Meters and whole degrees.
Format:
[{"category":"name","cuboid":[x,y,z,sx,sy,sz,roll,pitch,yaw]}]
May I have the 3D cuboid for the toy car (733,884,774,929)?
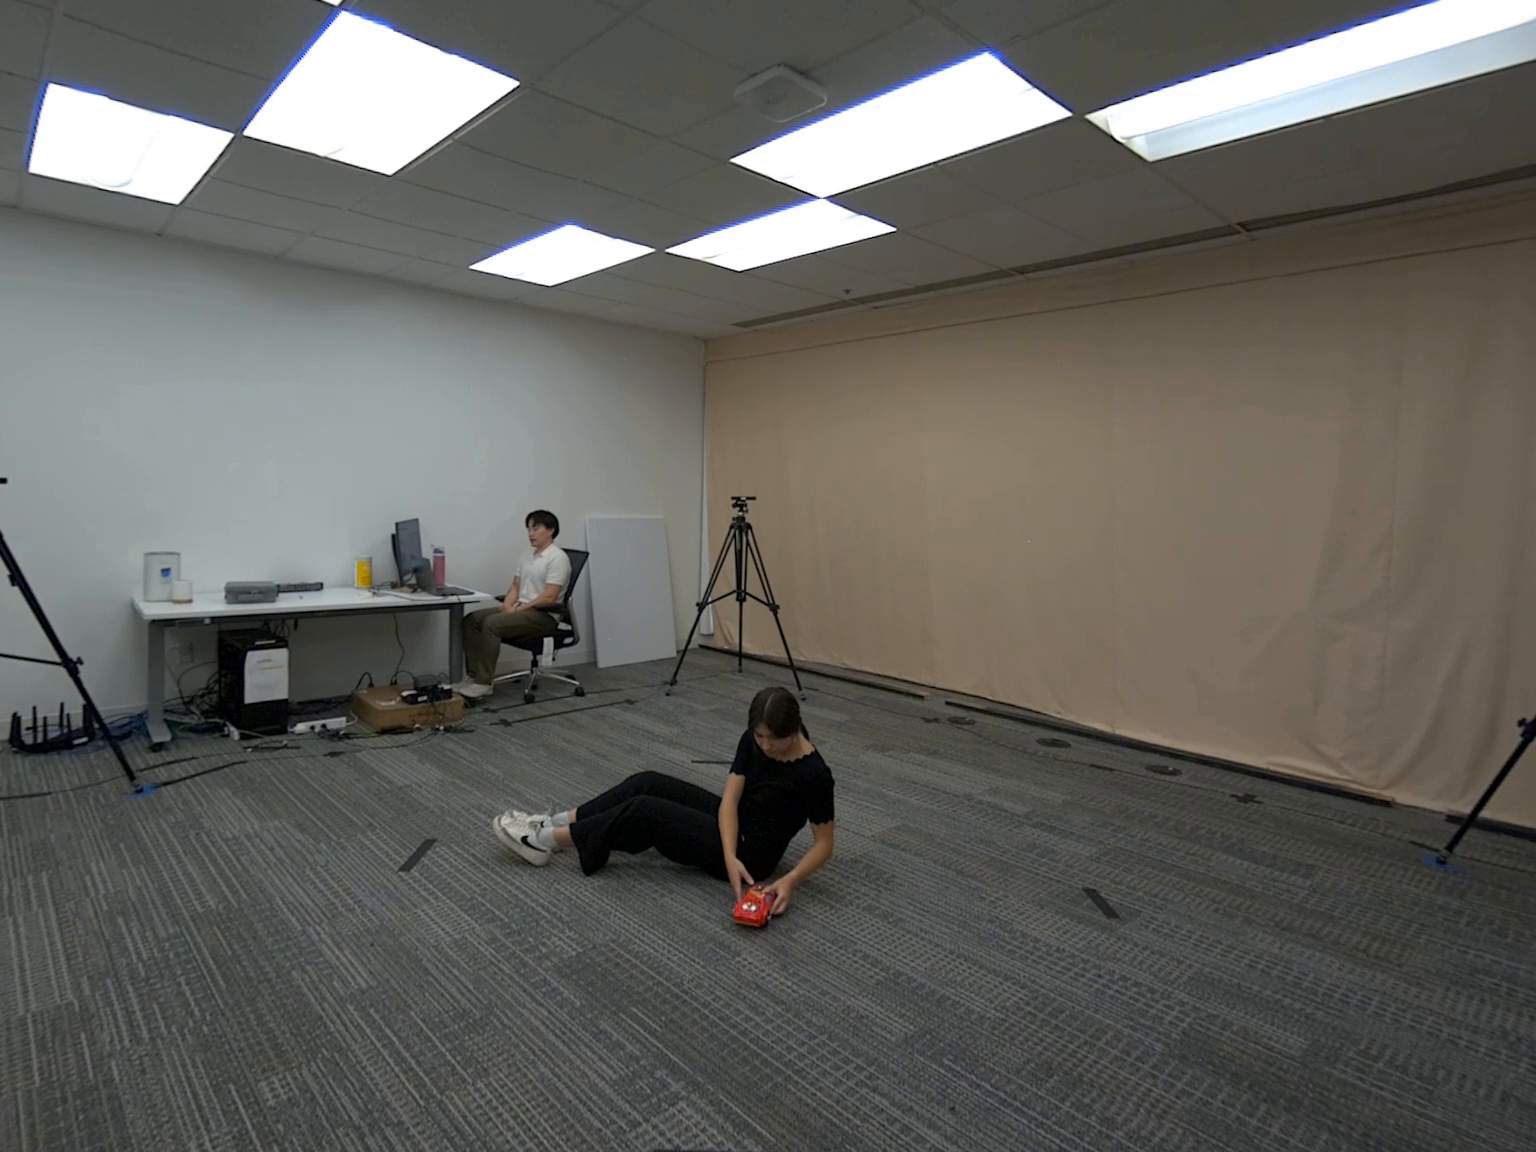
[{"category":"toy car","cuboid":[-0.050,1.097,2.788,0.132,0.083,0.250,2,-5,17]}]
